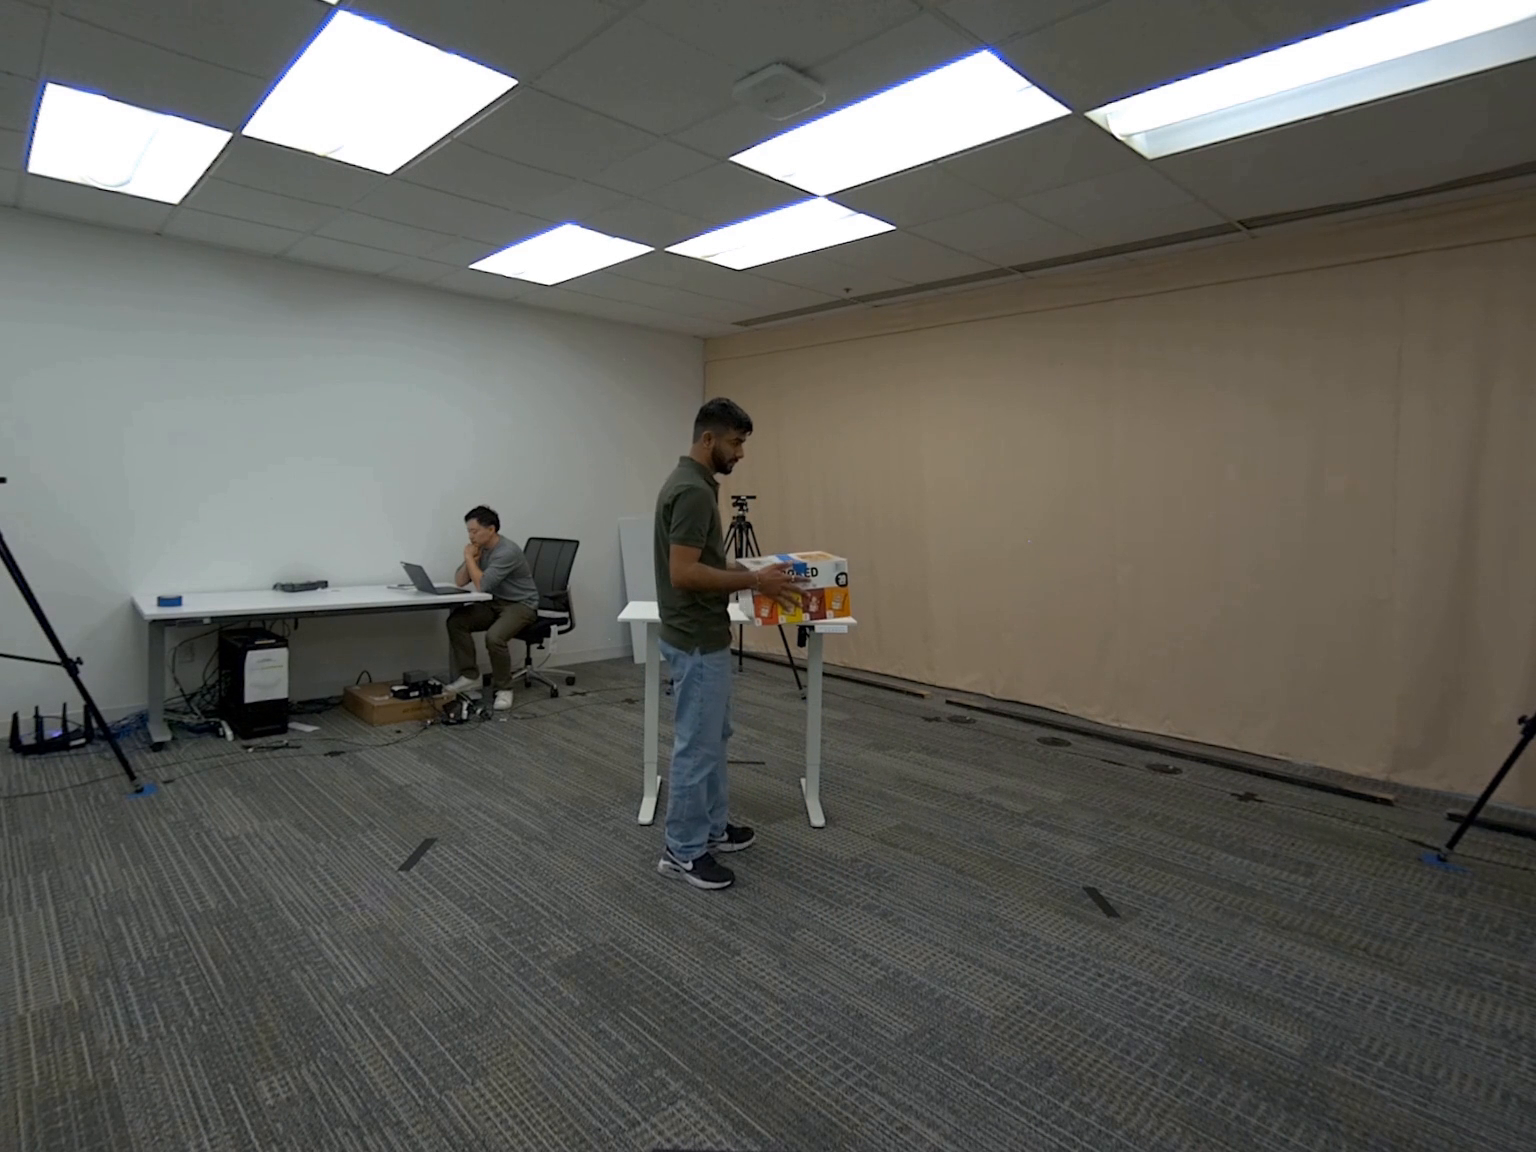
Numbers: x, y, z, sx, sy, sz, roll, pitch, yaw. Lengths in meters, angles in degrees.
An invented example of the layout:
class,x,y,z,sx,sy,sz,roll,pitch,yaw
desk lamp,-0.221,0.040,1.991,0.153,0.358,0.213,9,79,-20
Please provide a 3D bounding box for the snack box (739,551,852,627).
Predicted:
class,x,y,z,sx,sy,sz,roll,pitch,yaw
snack box,0.074,0.037,3.067,0.338,0.205,0.409,-5,6,-8
